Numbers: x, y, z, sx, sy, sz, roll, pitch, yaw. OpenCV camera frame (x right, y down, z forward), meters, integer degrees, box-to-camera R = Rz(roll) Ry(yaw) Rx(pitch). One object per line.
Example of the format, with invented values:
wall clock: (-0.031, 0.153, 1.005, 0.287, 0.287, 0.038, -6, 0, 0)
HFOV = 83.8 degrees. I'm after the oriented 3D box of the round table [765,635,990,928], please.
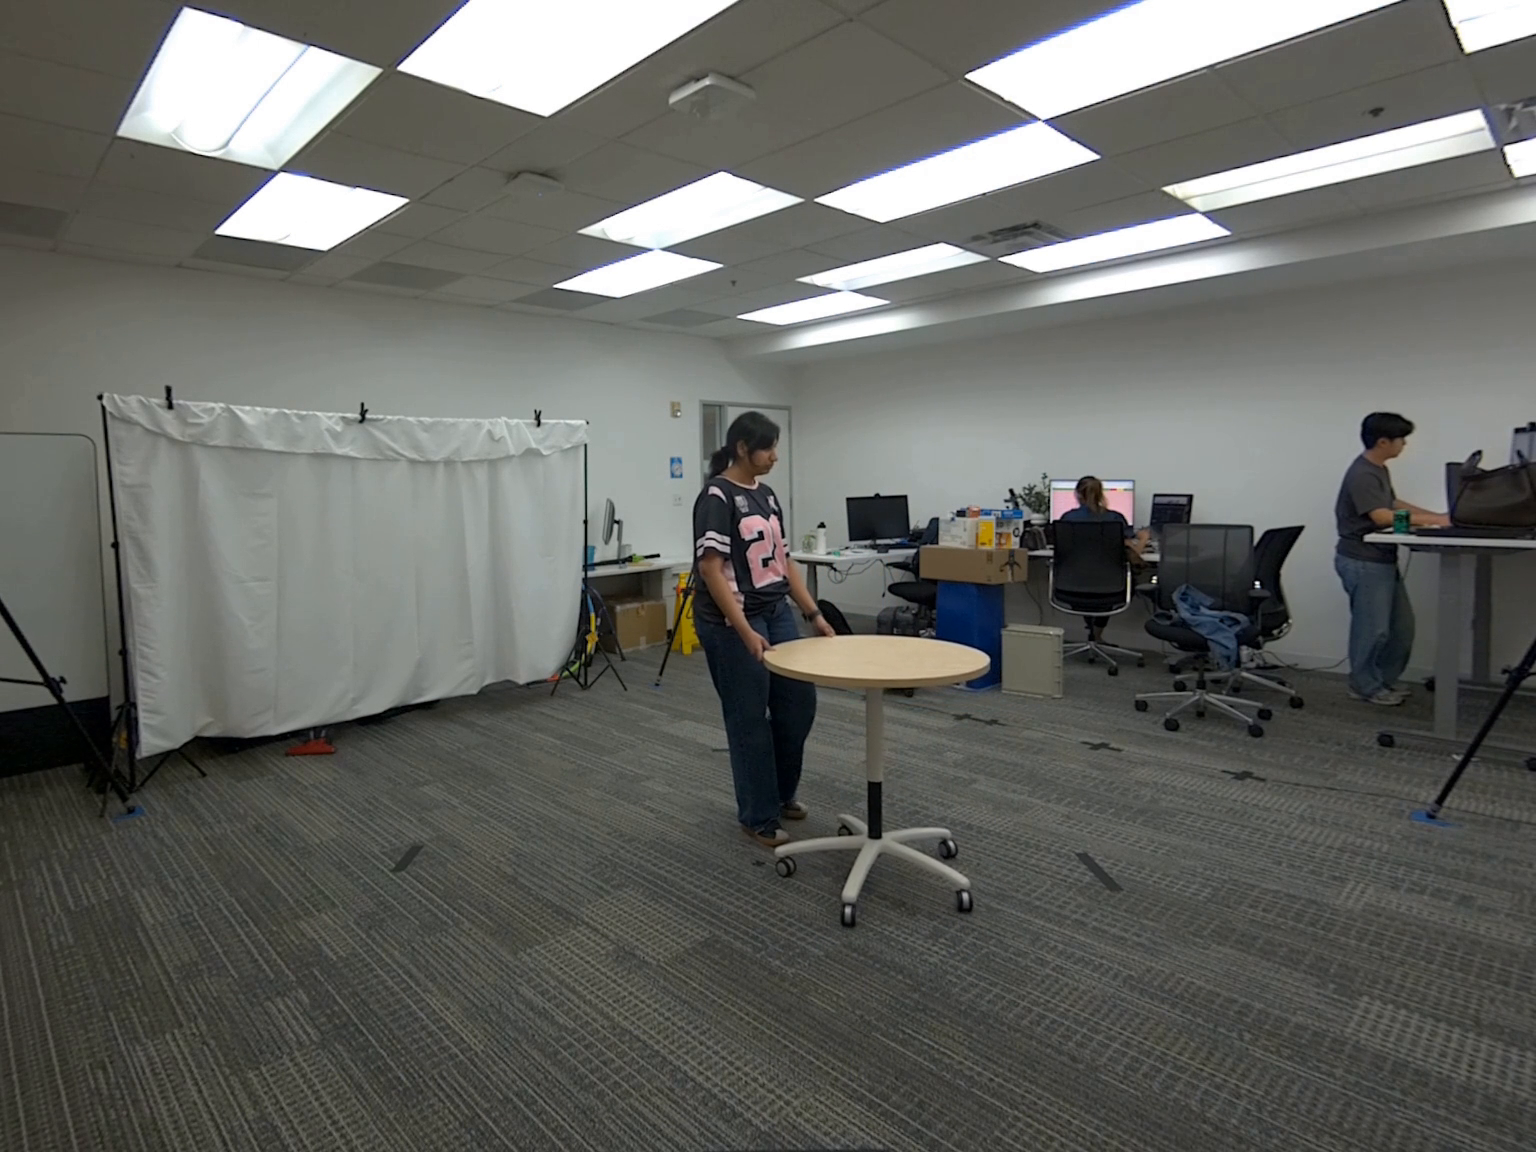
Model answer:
round table: (0.373, 0.666, 2.964, 0.763, 0.791, 0.768, 0, 5, -2)
